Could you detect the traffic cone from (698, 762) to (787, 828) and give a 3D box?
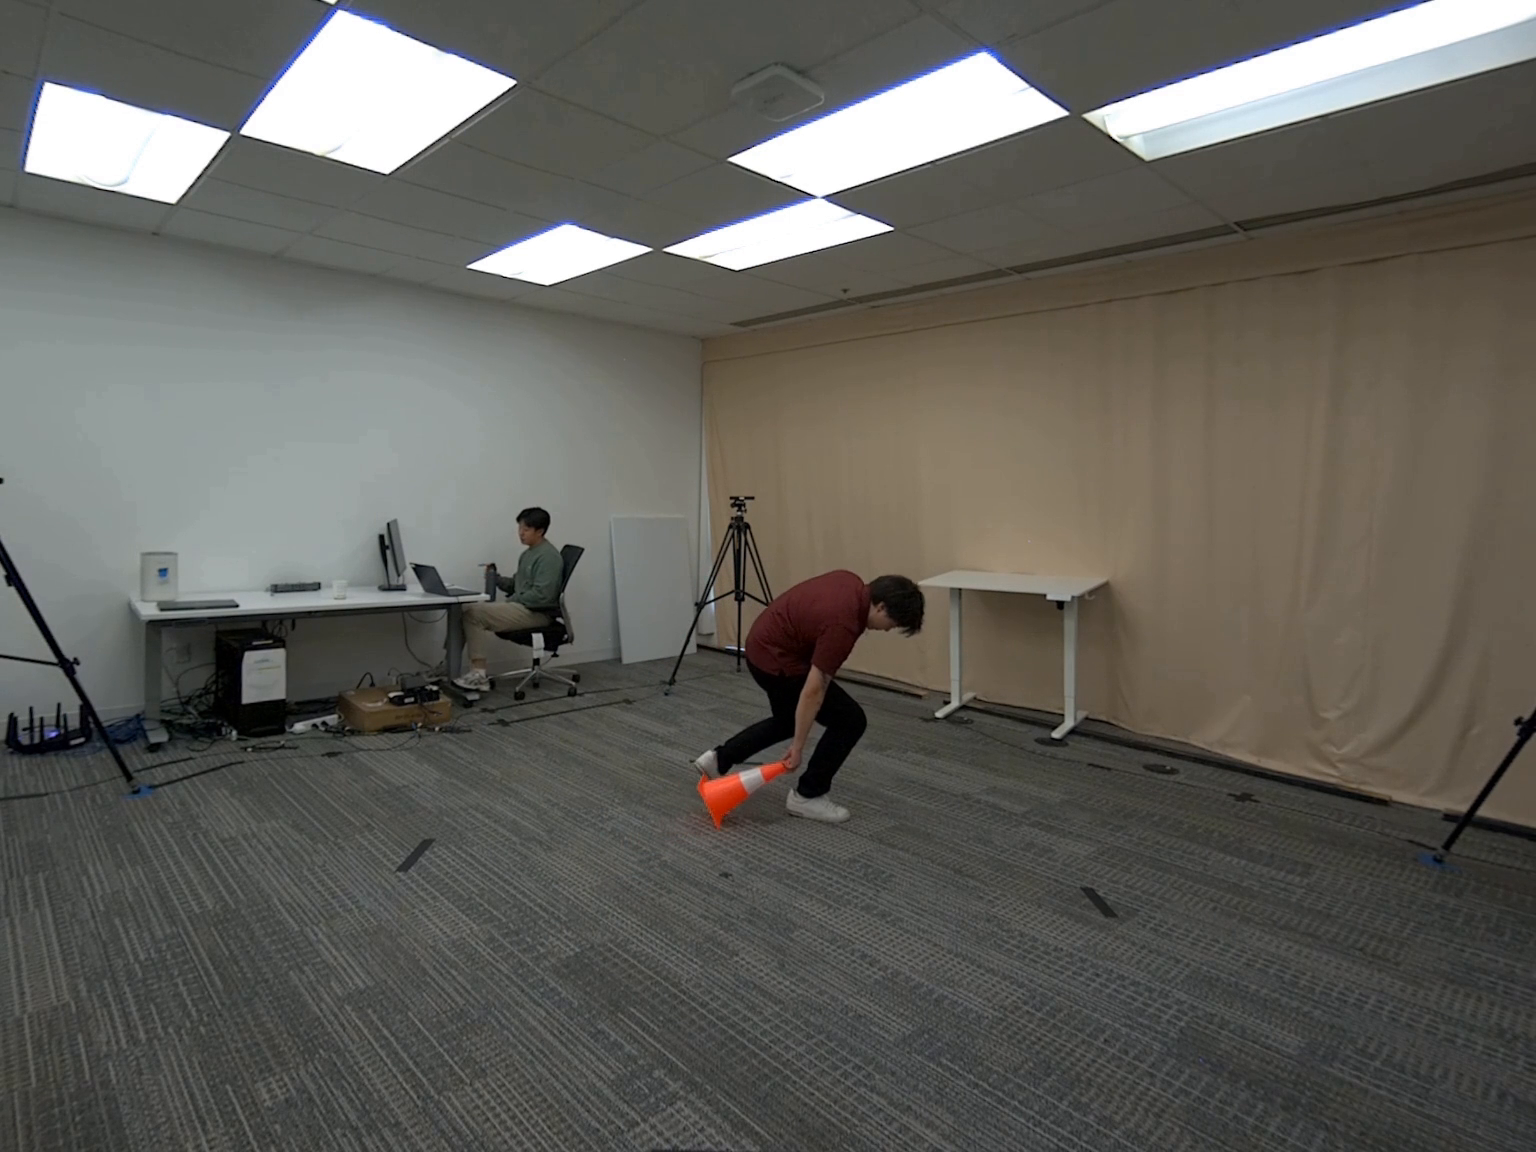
[{"bbox_3d":[-0.089,0.886,3.613,0.384,0.204,0.204,-25,-3,4],"label":"traffic cone"}]
